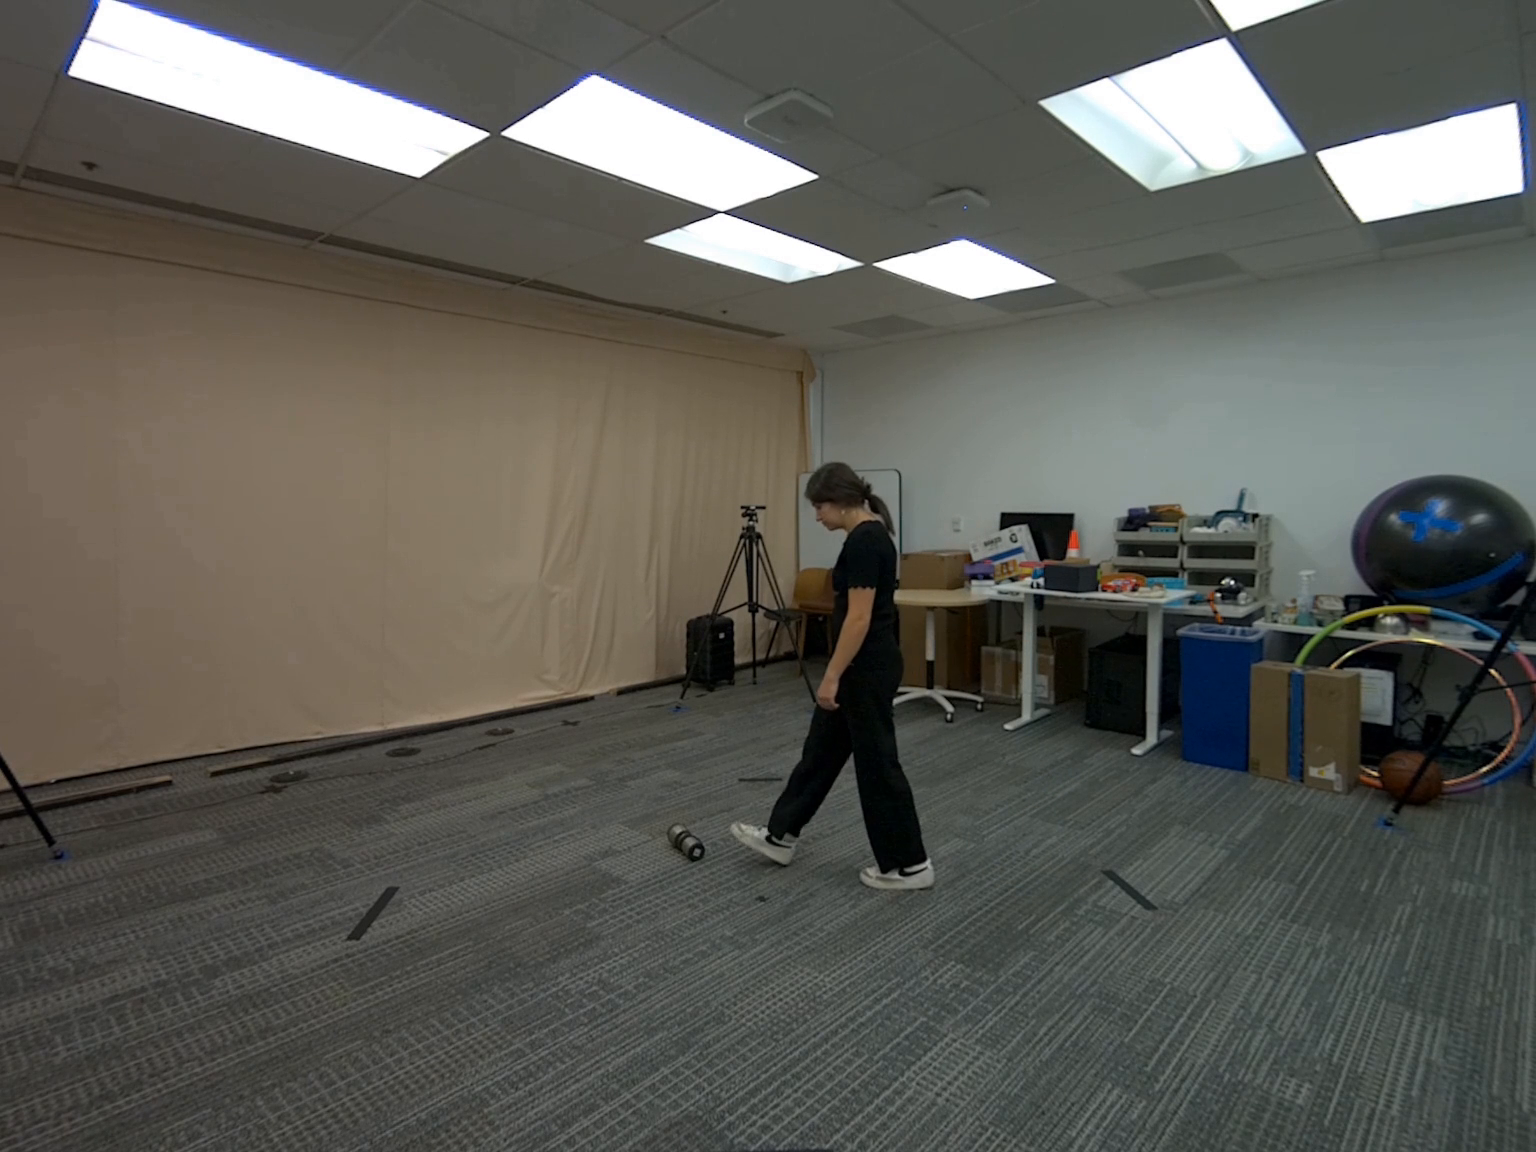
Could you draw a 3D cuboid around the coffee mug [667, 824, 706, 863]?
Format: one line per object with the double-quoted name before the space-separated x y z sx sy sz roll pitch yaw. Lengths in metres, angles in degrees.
"coffee mug" -0.310 1.063 3.392 0.119 0.087 0.209 -16 14 -30
